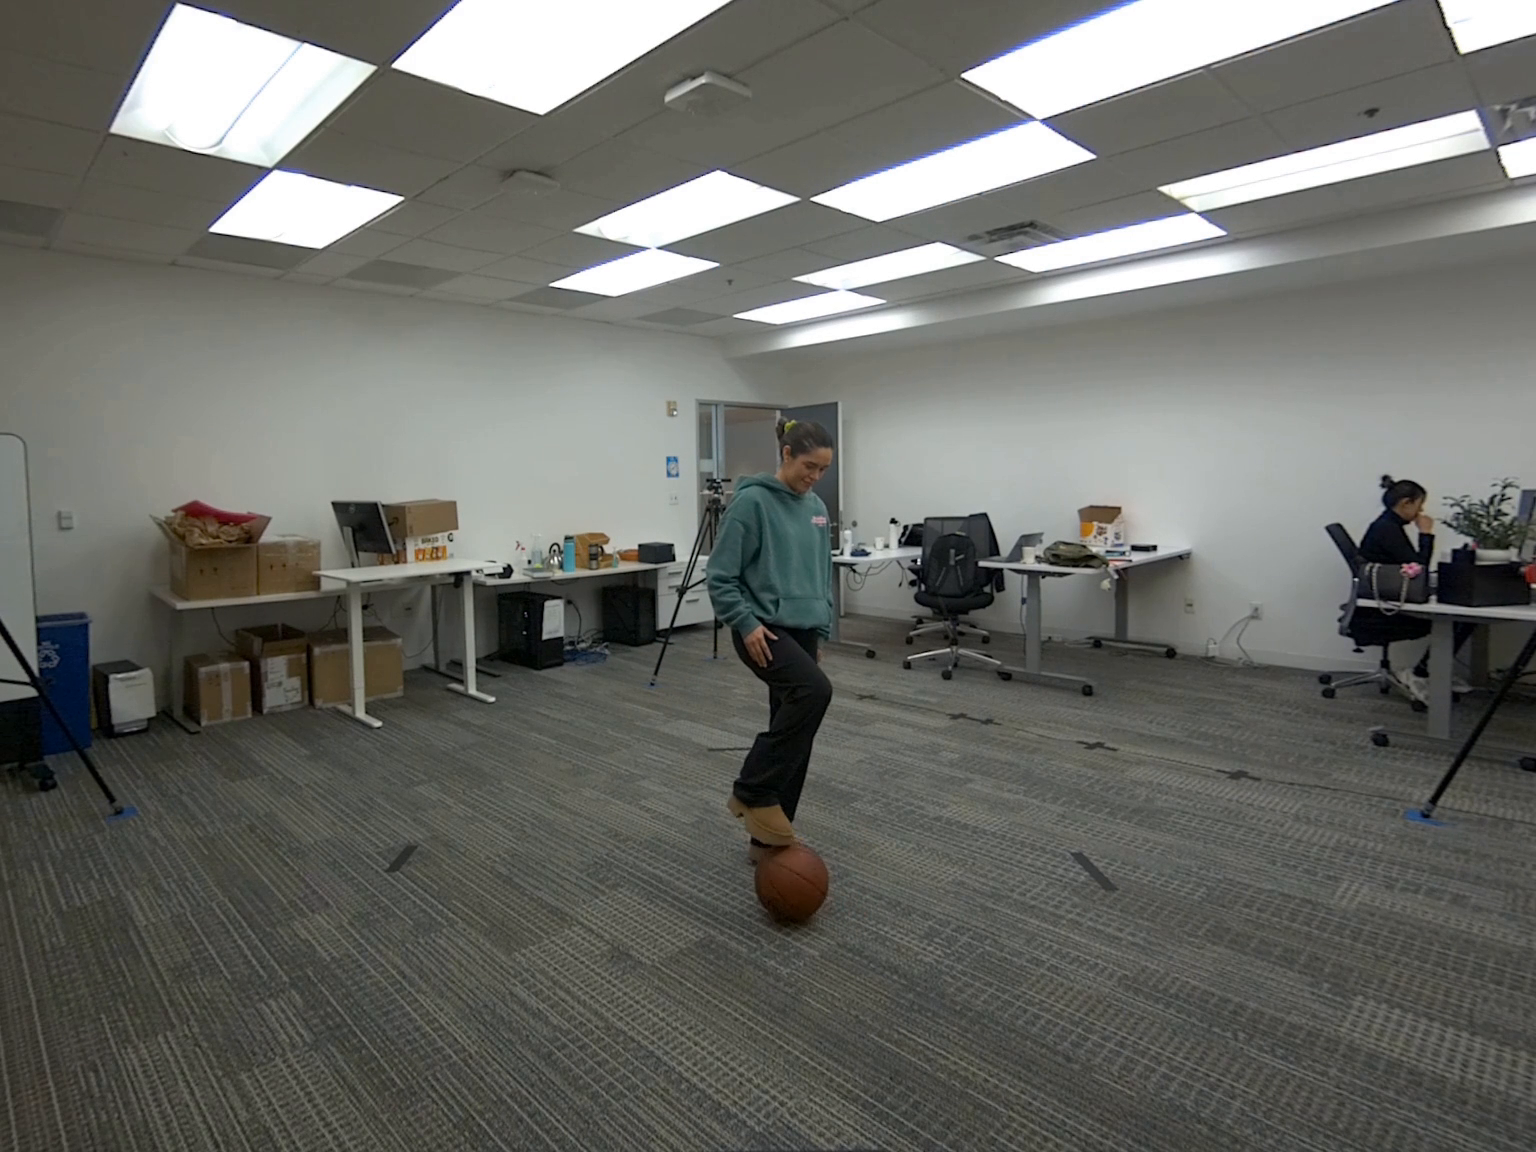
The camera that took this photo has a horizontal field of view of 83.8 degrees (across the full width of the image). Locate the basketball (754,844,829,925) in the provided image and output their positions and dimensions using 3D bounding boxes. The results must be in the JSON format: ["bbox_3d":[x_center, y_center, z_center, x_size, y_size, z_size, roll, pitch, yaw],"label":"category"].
[{"bbox_3d":[0.087,0.972,2.713,0.236,0.235,0.237,-1,5,-2],"label":"basketball"}]
